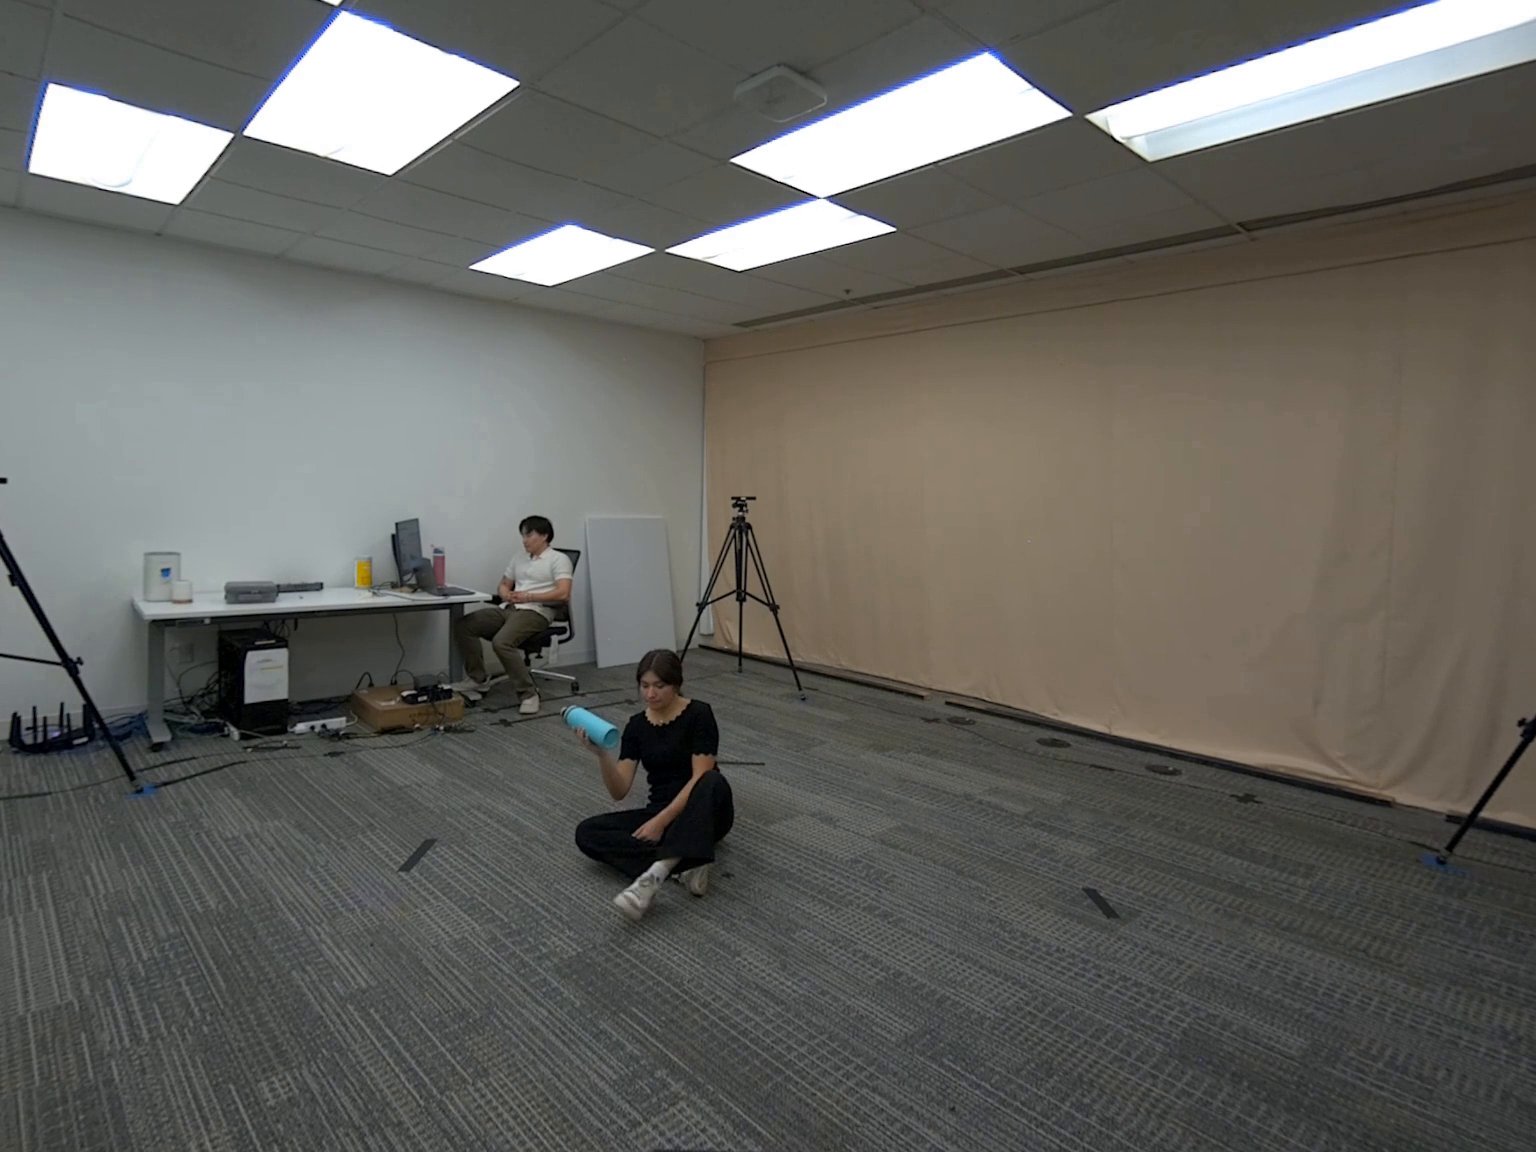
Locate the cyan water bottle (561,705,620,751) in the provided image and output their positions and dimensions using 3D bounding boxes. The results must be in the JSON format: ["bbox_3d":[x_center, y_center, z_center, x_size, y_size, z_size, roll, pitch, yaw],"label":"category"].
[{"bbox_3d":[-0.700,0.579,3.255,0.291,0.092,0.090,17,13,39],"label":"cyan water bottle"}]
